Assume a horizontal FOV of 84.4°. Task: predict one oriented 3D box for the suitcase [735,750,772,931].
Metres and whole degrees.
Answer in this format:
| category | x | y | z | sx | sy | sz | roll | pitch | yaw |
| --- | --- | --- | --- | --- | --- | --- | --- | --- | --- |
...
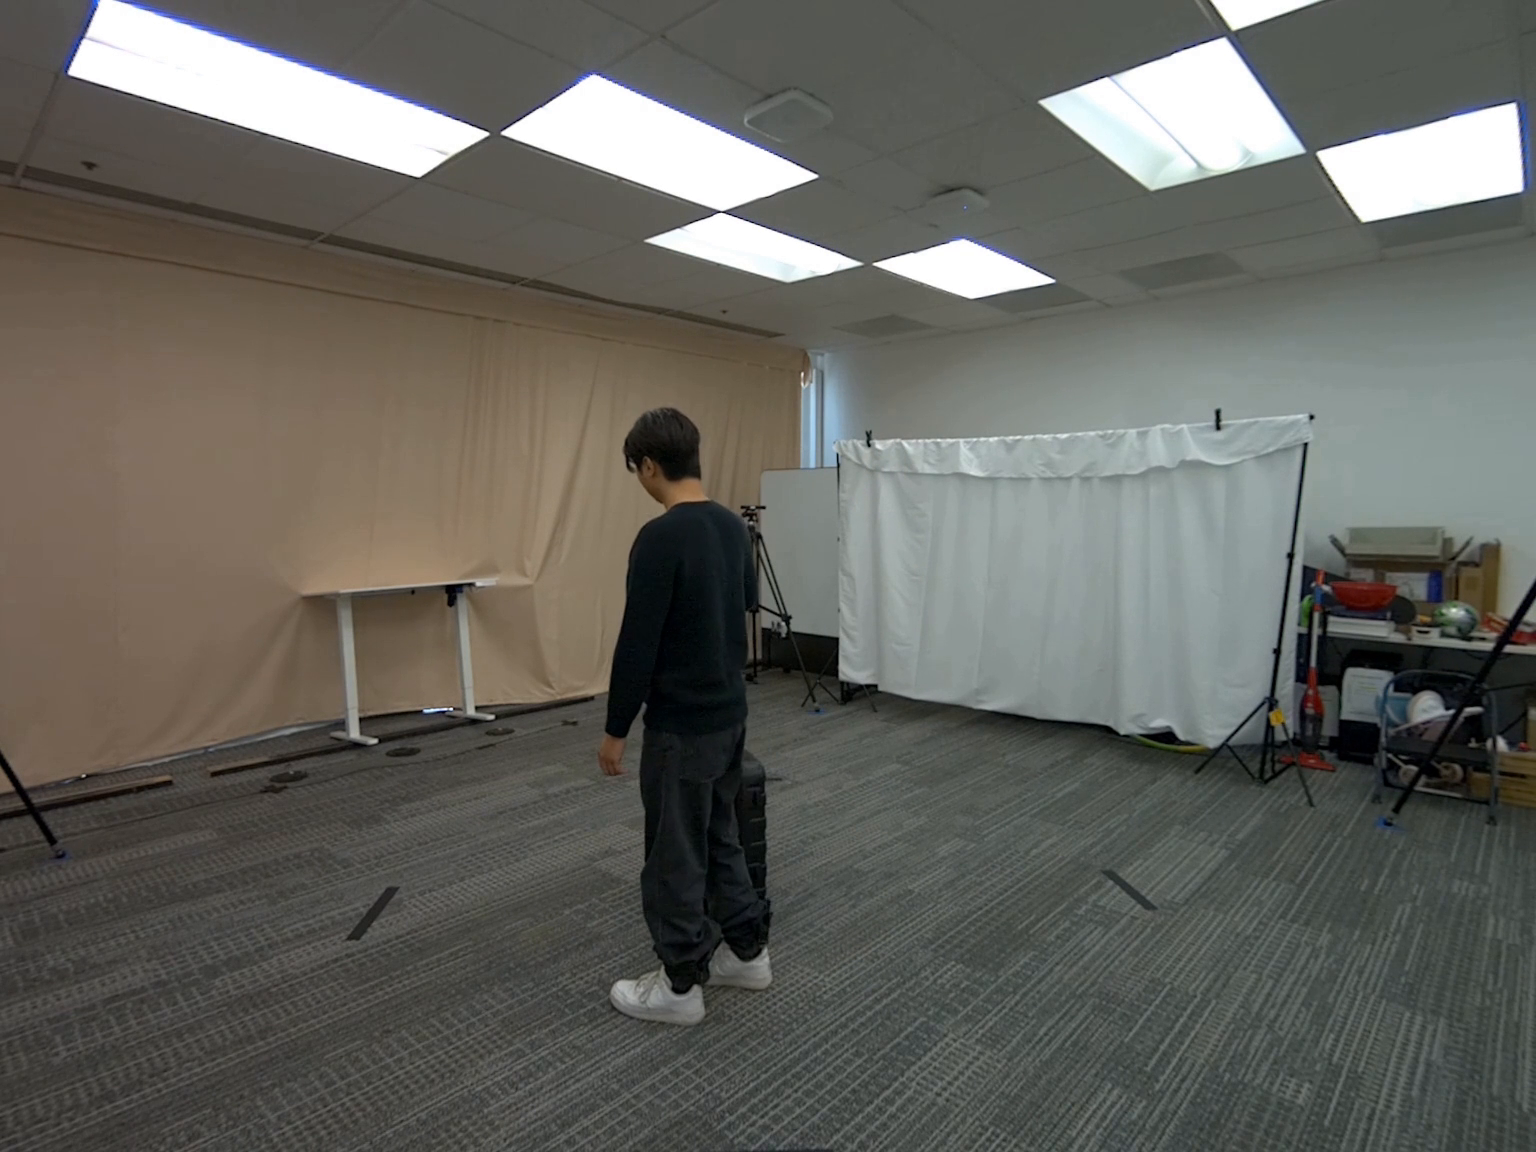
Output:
| category | x | y | z | sx | sy | sz | roll | pitch | yaw |
| --- | --- | --- | --- | --- | --- | --- | --- | --- | --- |
| suitcase | -0.160 | 0.672 | 2.935 | 0.252 | 0.977 | 0.392 | 1 | 3 | -18 |
